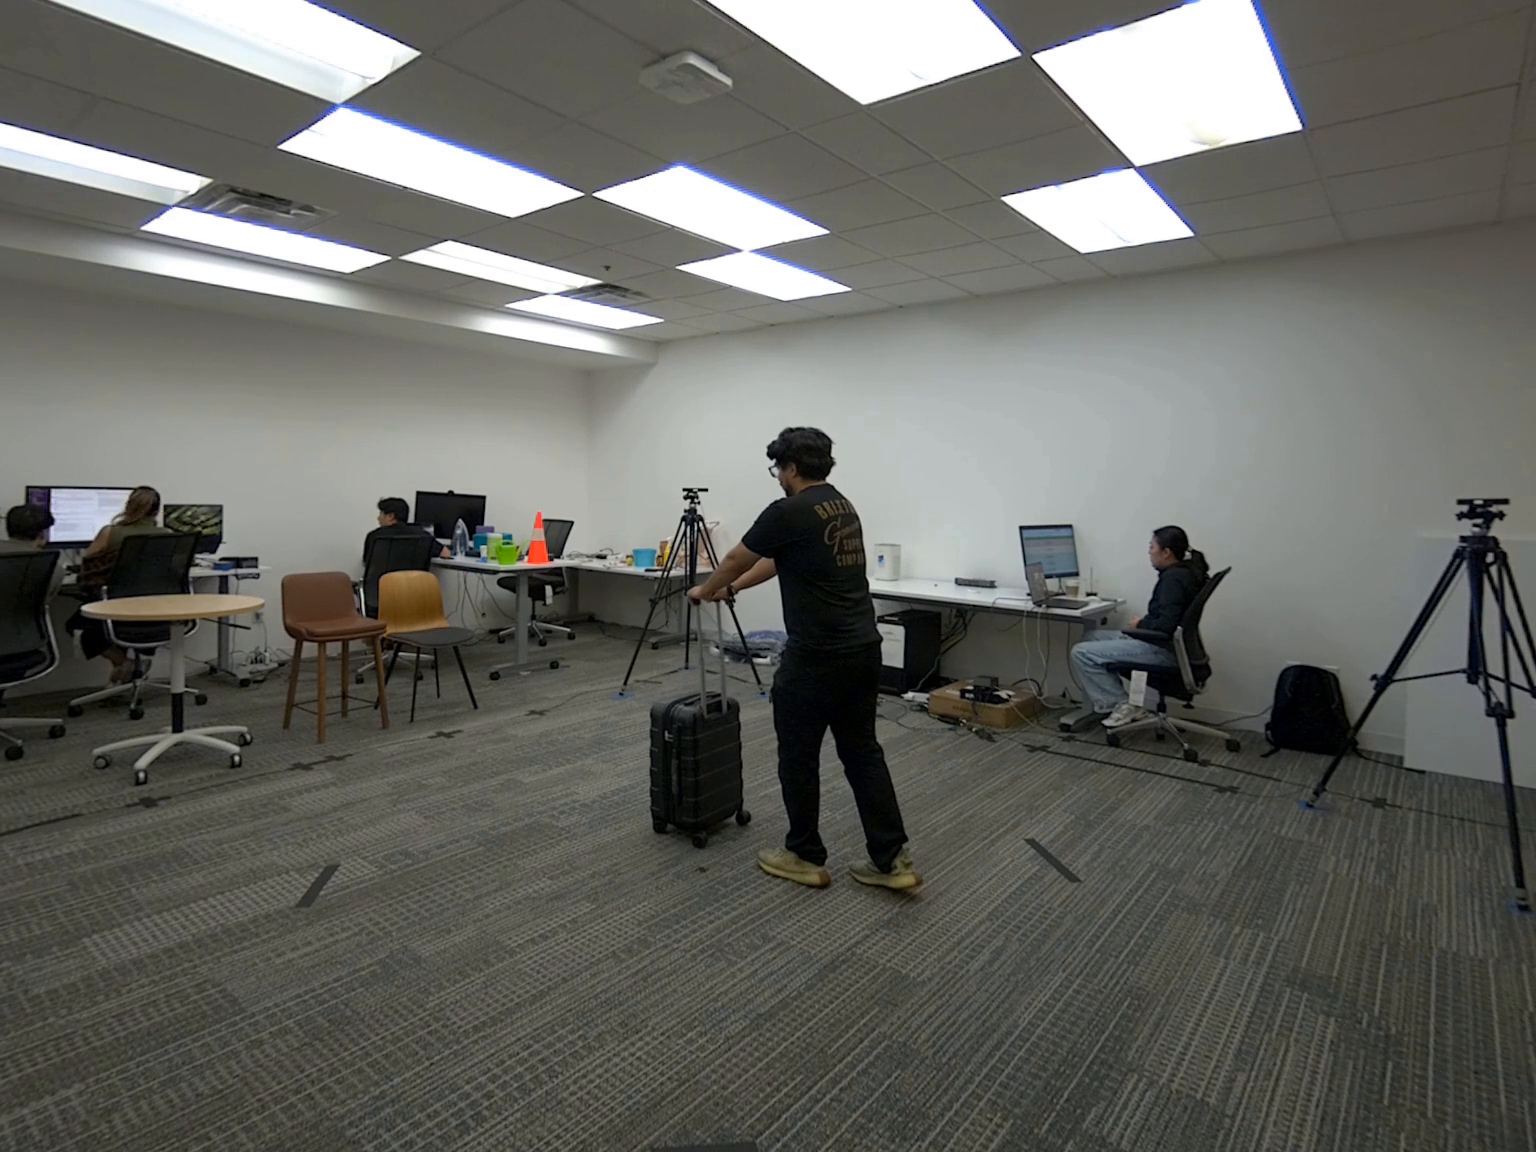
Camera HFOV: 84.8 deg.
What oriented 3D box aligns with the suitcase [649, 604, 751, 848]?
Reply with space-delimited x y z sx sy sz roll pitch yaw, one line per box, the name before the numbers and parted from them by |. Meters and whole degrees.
suitcase | -0.316 0.557 3.487 0.264 0.978 0.373 -3 0 37
